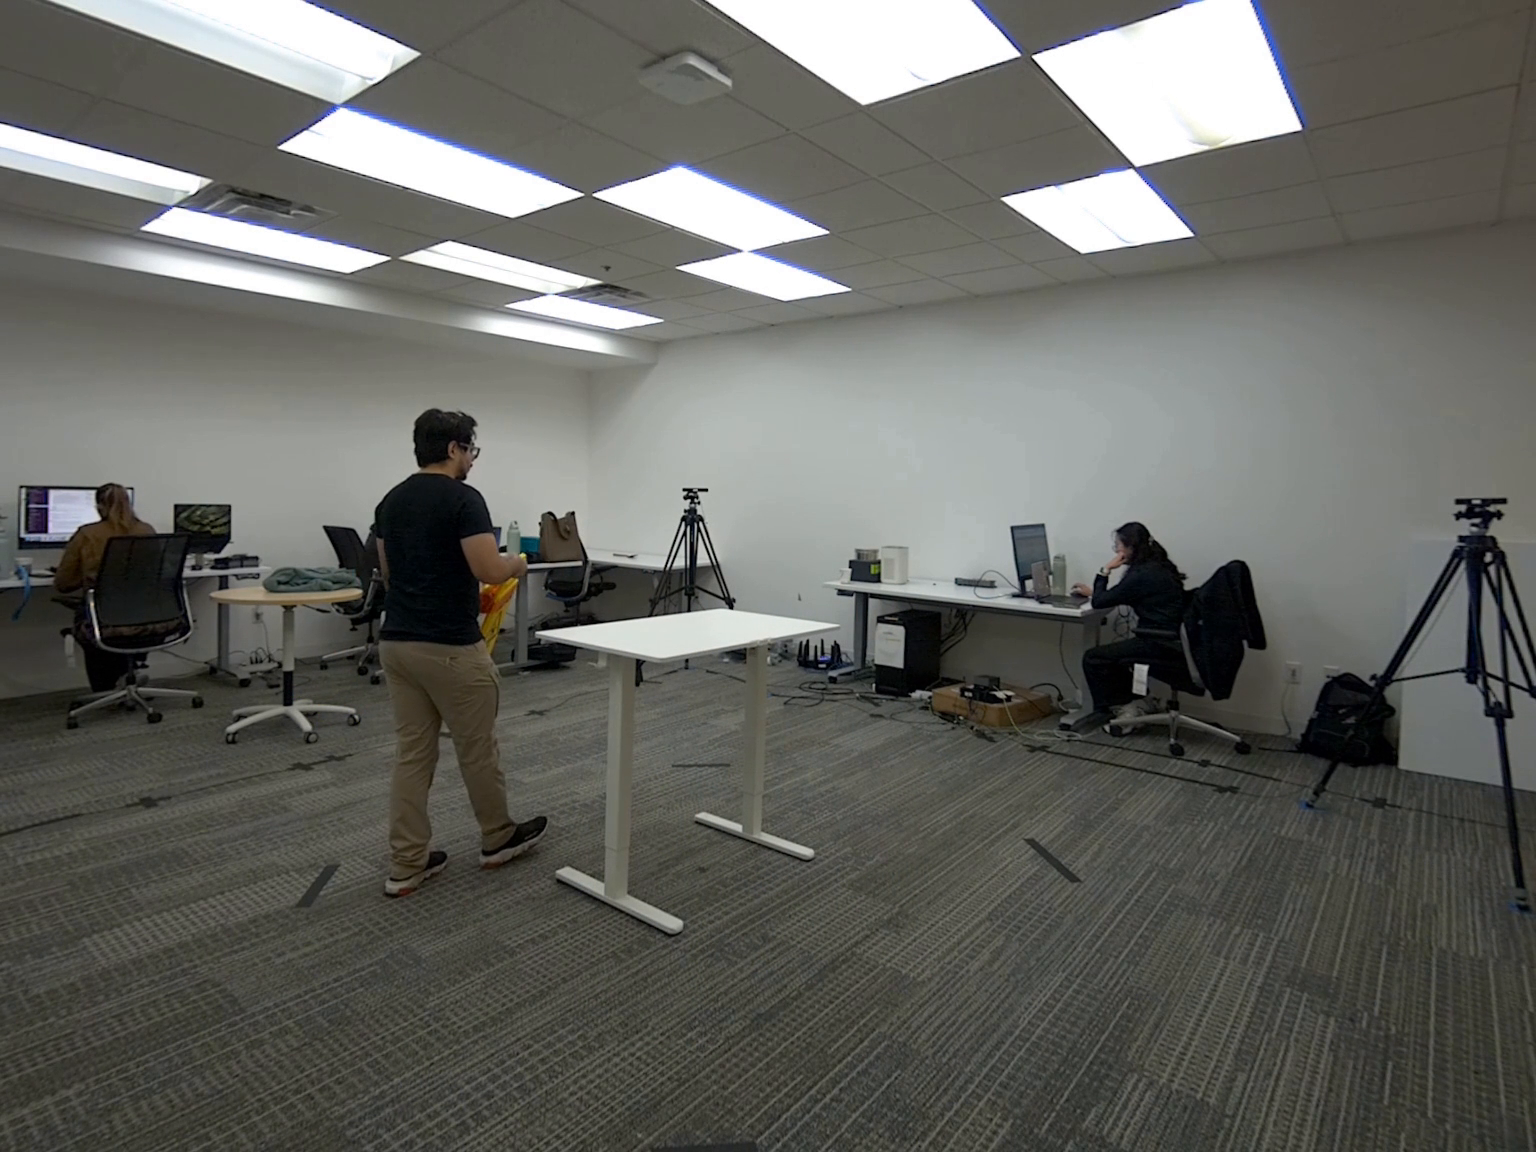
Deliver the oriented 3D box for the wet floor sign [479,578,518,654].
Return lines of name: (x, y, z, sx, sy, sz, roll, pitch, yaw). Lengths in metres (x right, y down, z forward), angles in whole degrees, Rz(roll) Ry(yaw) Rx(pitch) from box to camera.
wet floor sign: (-1.136, 0.175, 3.274, 0.287, 0.645, 0.285, 39, 21, -7)
